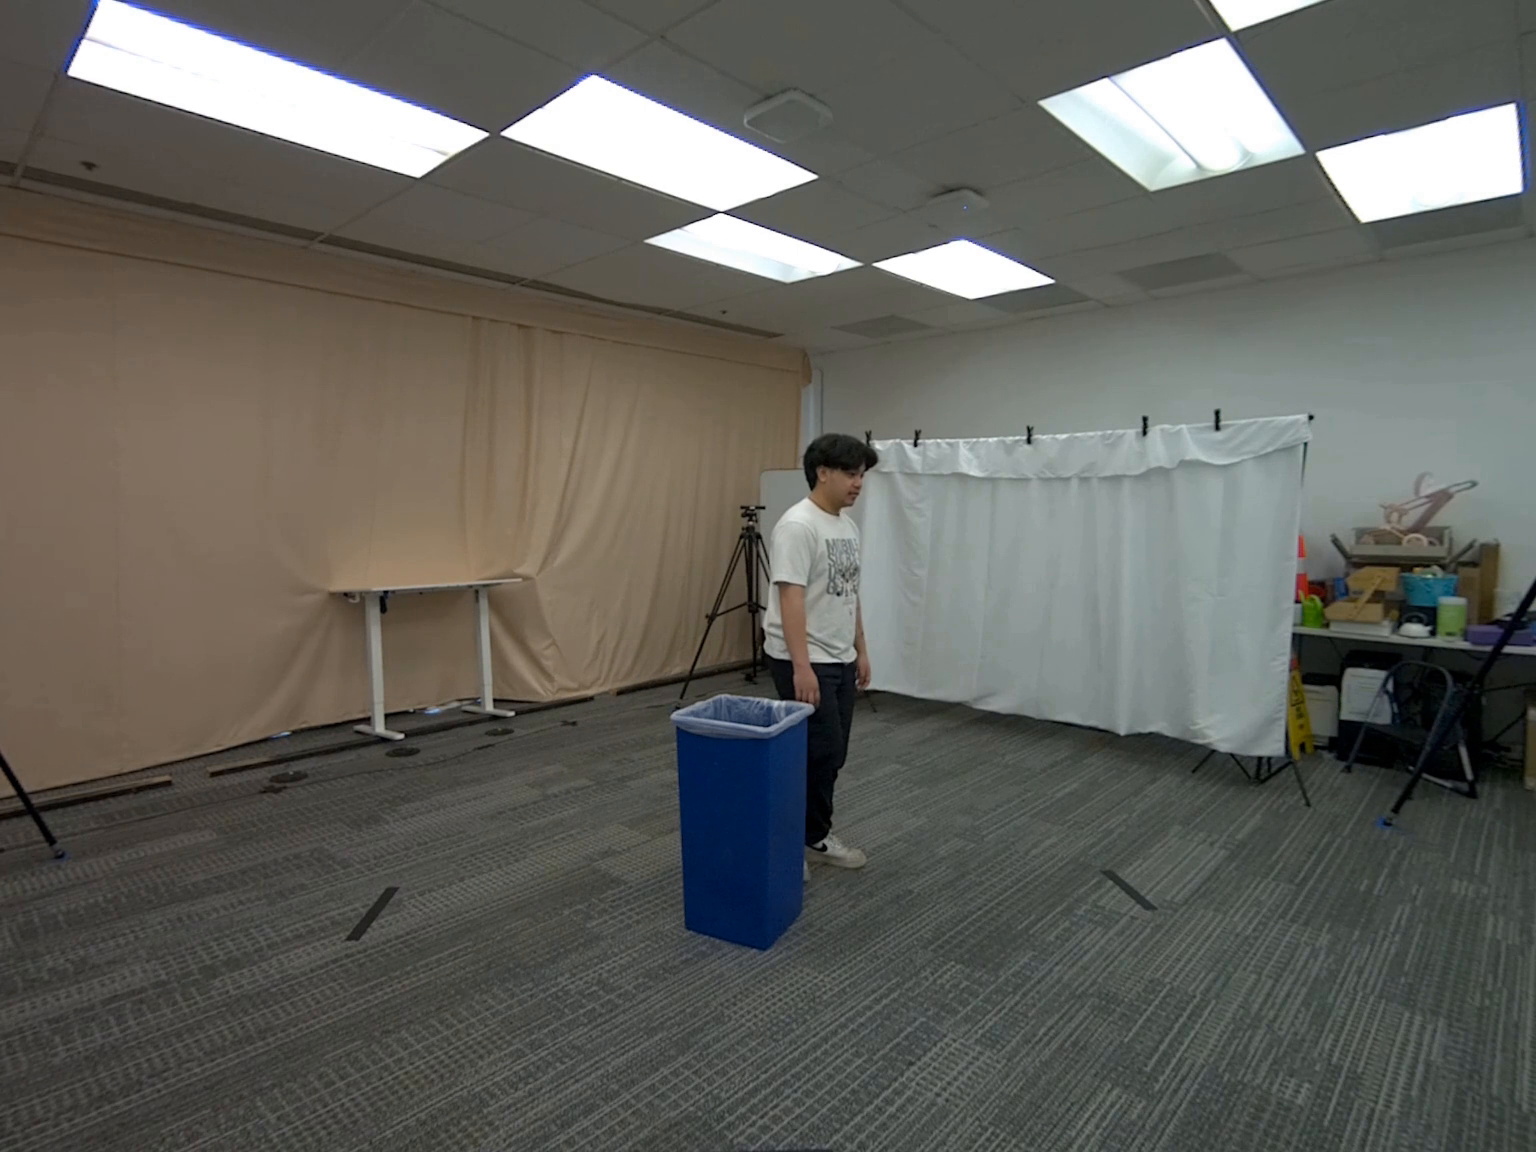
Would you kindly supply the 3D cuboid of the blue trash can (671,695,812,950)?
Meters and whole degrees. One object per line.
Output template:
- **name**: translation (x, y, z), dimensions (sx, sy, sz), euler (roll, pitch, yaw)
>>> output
- **blue trash can**: translation (-0.078, 0.800, 2.804), dimensions (0.388, 0.712, 0.365), euler (1, 3, 27)
